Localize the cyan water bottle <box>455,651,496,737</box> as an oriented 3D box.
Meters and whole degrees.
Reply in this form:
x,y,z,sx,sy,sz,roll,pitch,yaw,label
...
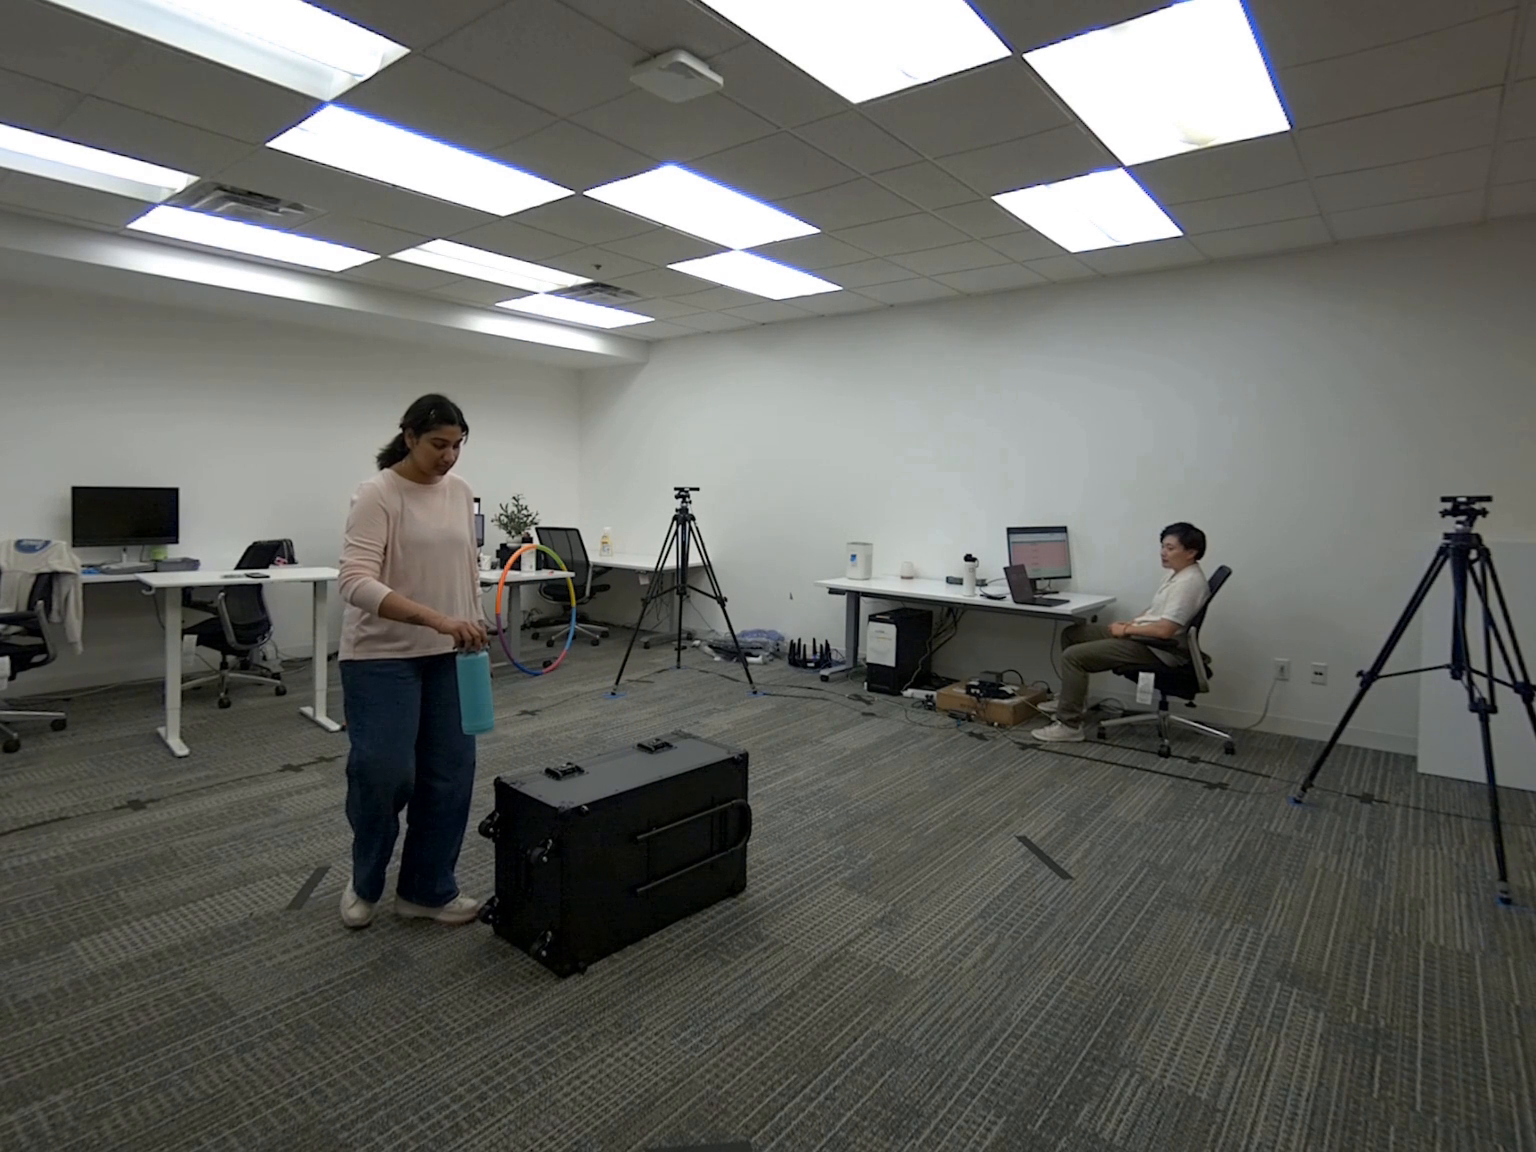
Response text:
x,y,z,sx,sy,sz,roll,pitch,yaw,label
-0.848,0.299,2.411,0.092,0.283,0.092,-3,1,-2,cyan water bottle
